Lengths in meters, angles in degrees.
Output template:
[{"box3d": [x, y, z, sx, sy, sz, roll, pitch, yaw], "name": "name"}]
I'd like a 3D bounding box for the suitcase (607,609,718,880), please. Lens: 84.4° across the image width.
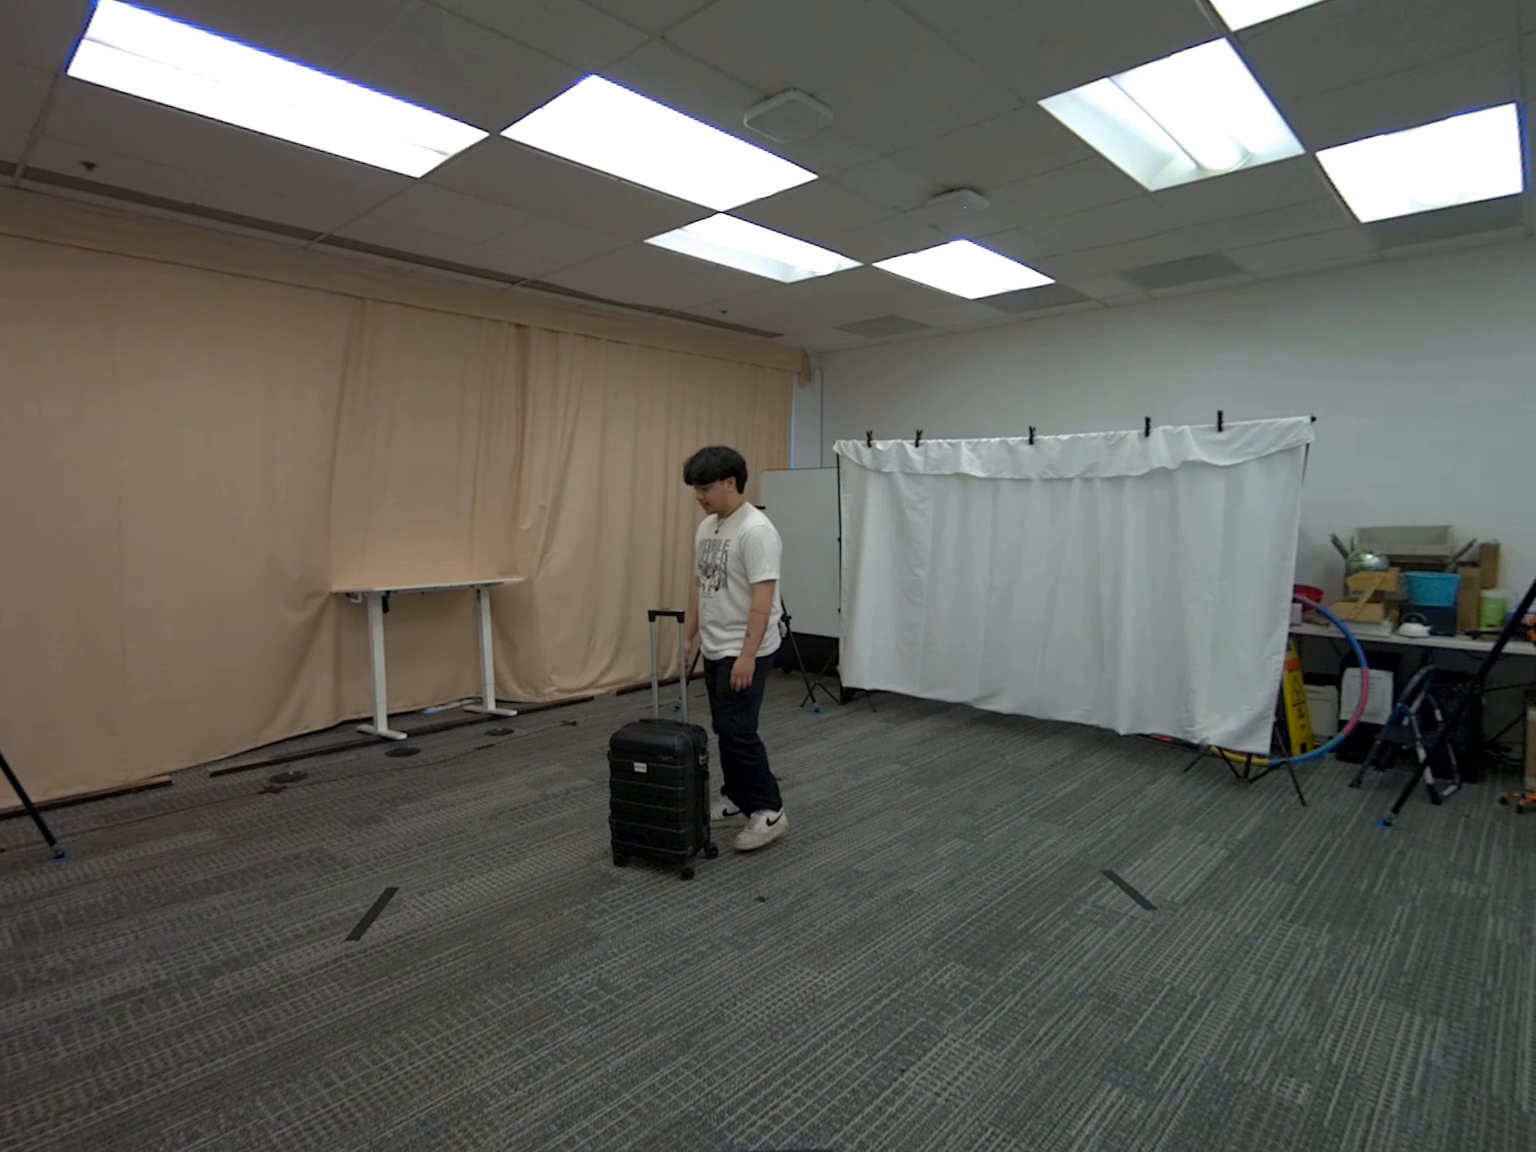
[{"box3d": [-0.430, 0.643, 3.270, 0.393, 0.975, 0.252, -1, 6, 22], "name": "suitcase"}]
